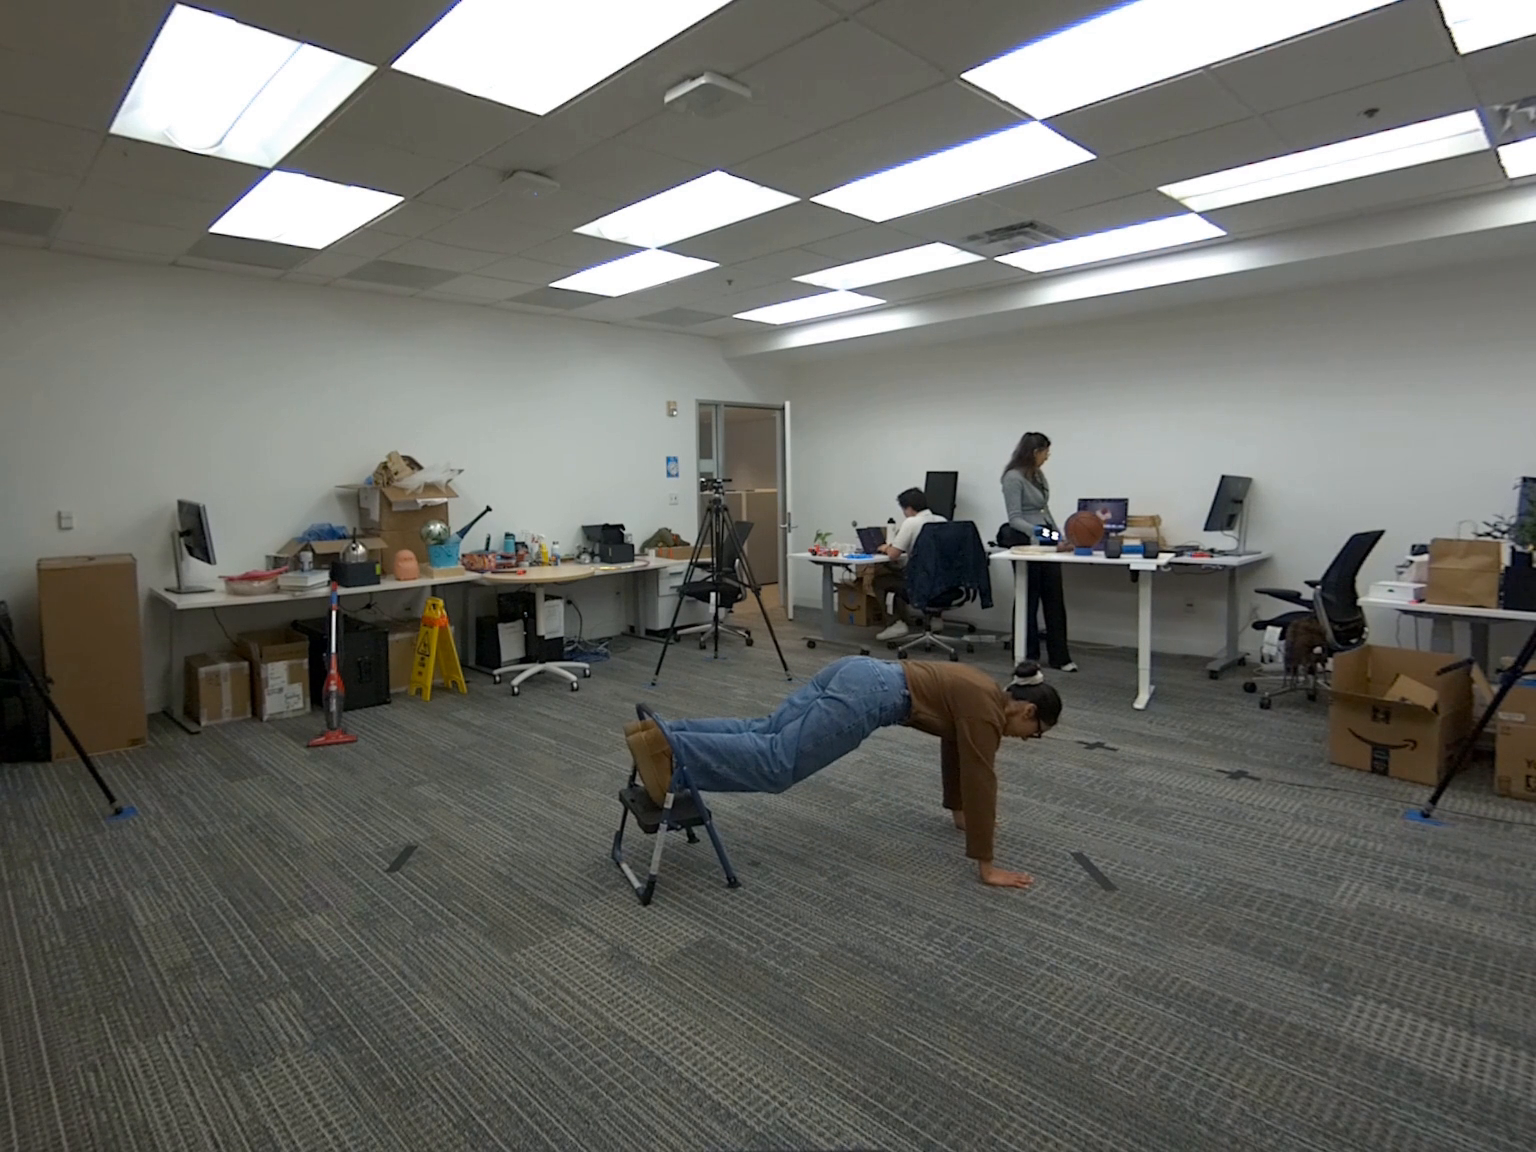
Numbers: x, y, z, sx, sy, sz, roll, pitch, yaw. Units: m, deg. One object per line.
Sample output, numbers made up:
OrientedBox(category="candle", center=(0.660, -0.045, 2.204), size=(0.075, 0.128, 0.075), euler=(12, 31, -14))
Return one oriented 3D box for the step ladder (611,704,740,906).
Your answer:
OrientedBox(category="step ladder", center=(-0.345, 0.758, 3.041), size=(0.342, 0.604, 0.441), euler=(-3, 5, -25))
